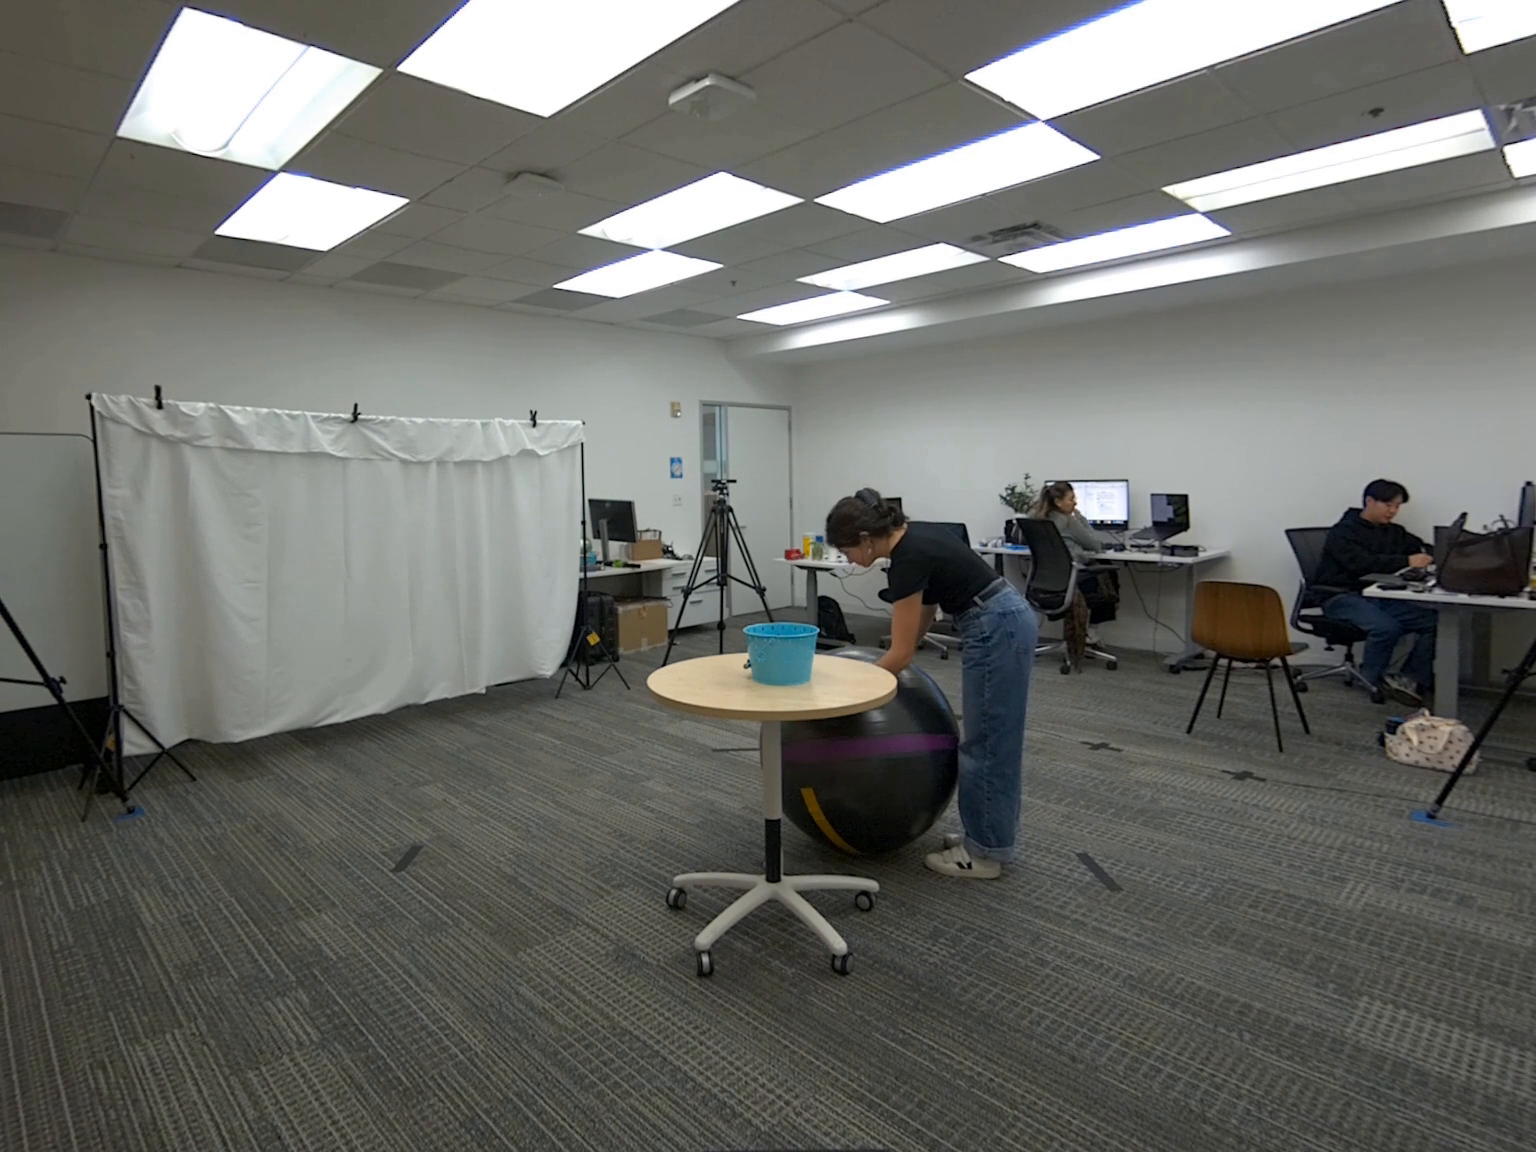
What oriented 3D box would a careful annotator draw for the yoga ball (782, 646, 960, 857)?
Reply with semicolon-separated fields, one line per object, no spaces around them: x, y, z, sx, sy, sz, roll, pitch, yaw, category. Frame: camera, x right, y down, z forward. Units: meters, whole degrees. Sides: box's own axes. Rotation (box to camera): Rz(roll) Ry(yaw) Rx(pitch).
0.352;0.663;3.260;0.757;0.755;0.762;-1;5;-2;yoga ball
